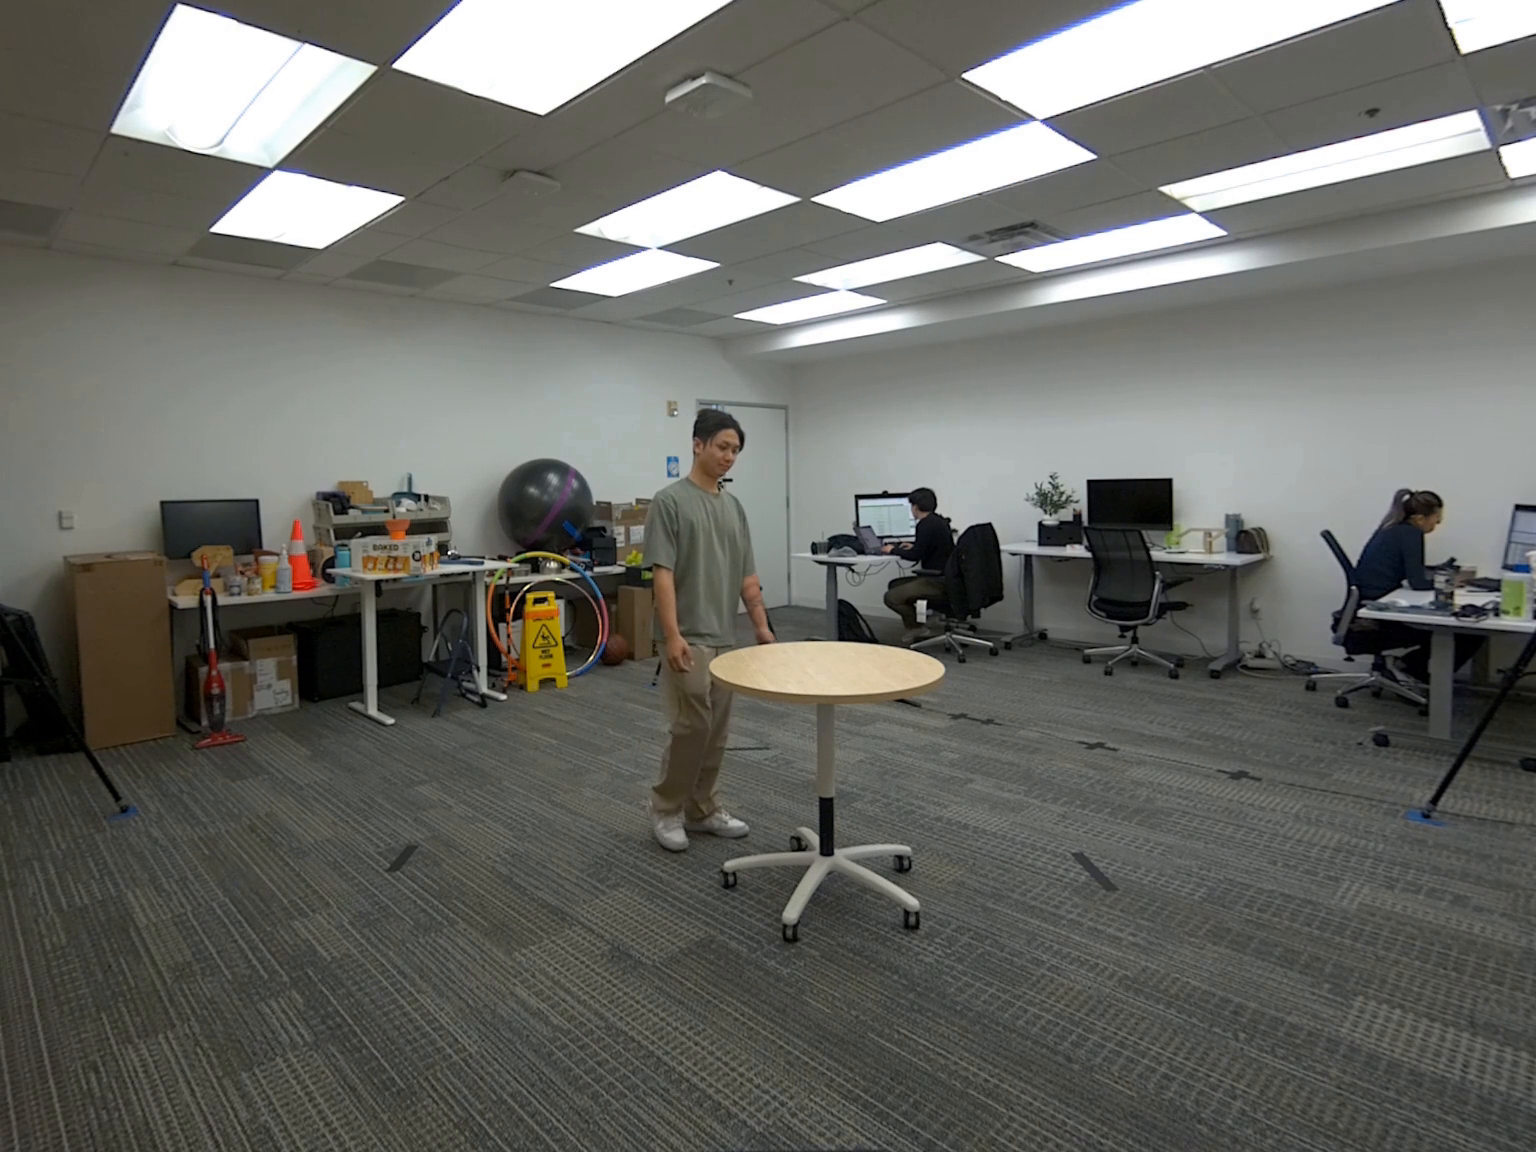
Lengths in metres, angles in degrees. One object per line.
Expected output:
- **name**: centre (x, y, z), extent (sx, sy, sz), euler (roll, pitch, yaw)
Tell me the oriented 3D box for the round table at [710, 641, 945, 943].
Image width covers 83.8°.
- **round table**: centre (0.188, 0.679, 2.831), extent (0.784, 0.783, 0.789), euler (-1, 5, -2)
